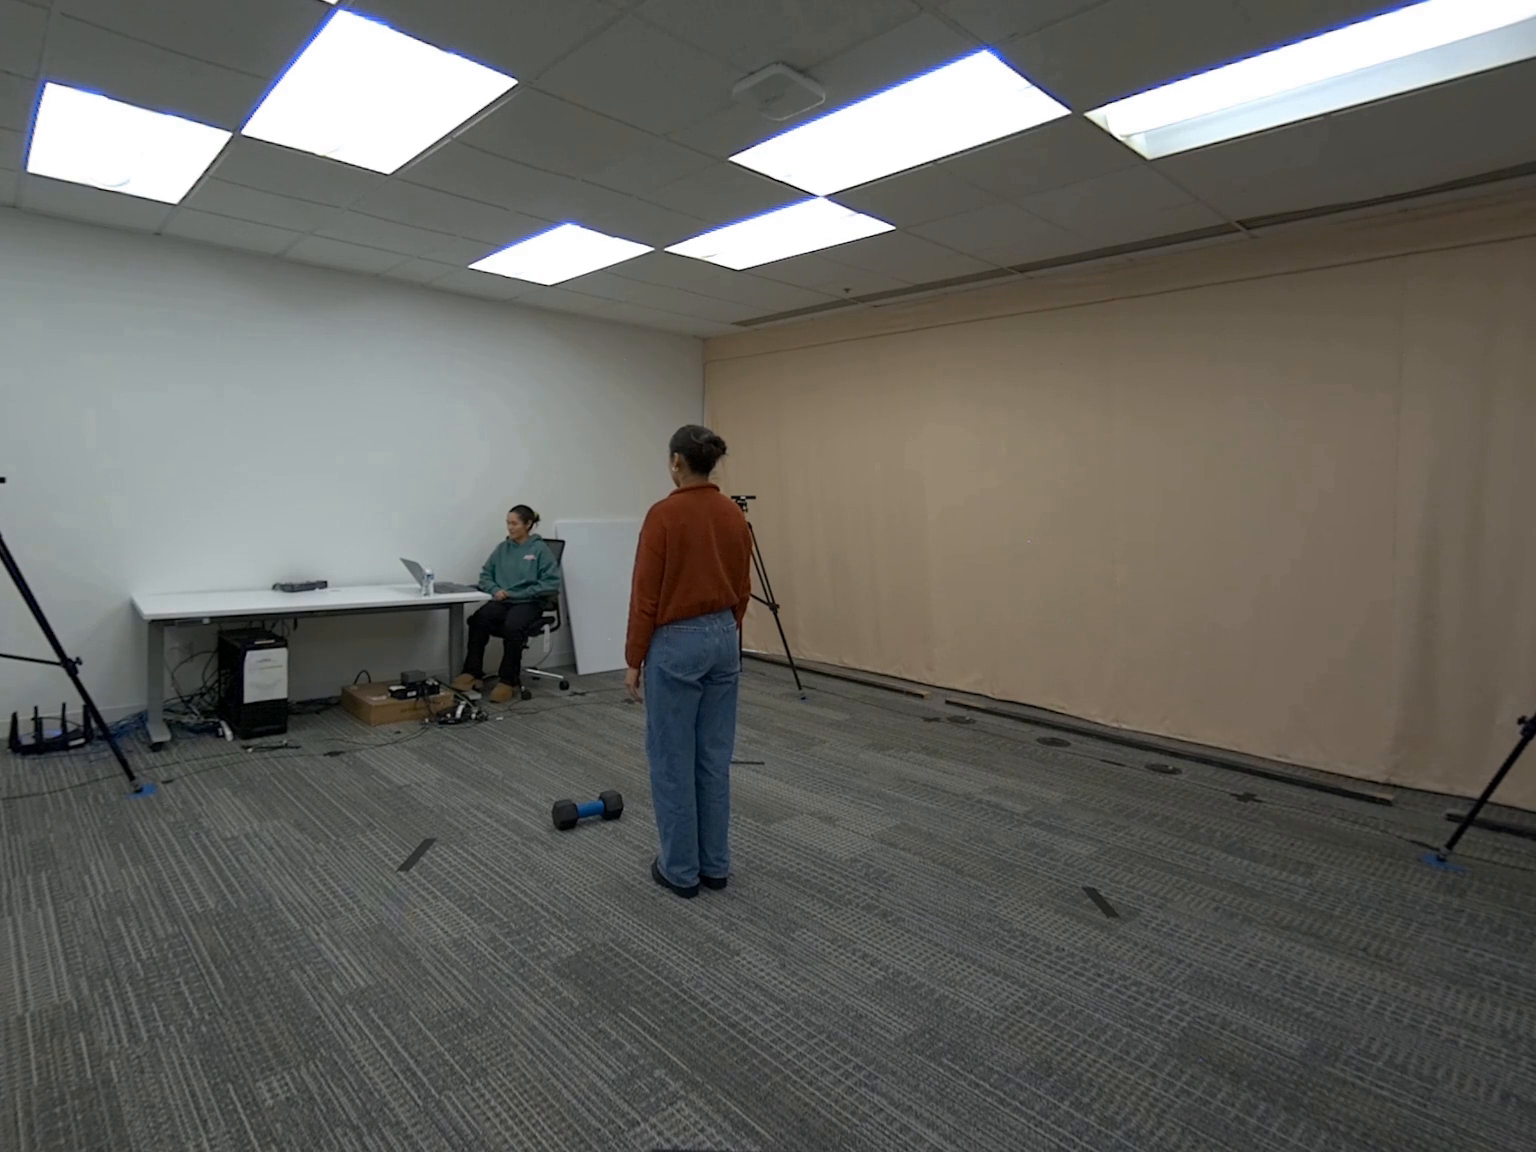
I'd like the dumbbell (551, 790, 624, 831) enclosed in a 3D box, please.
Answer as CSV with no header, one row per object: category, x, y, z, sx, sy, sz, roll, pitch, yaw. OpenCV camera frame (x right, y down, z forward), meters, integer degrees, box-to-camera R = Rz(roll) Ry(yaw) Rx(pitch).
dumbbell,-0.773,0.993,3.573,0.287,0.125,0.109,-2,-24,-36
